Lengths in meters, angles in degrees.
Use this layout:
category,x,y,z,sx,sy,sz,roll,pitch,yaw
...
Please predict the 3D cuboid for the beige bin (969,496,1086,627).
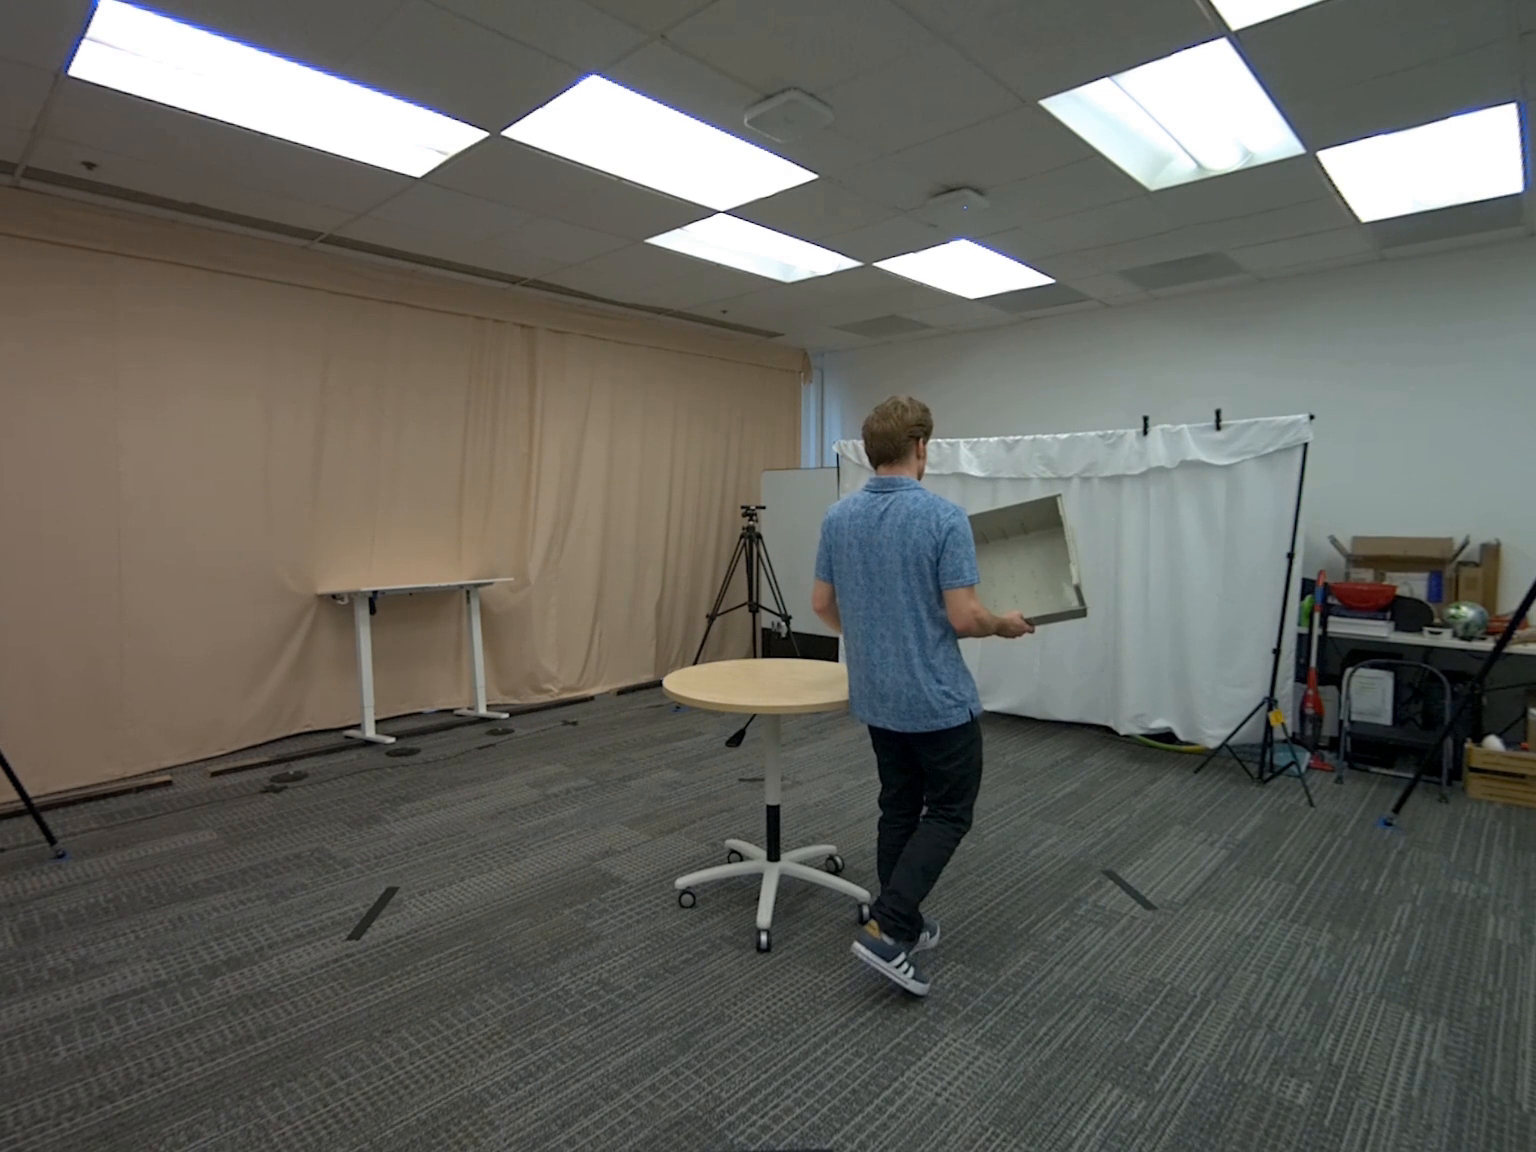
category,x,y,z,sx,sy,sz,roll,pitch,yaw
beige bin,0.775,-0.017,2.673,0.431,0.383,0.182,-14,-39,26
